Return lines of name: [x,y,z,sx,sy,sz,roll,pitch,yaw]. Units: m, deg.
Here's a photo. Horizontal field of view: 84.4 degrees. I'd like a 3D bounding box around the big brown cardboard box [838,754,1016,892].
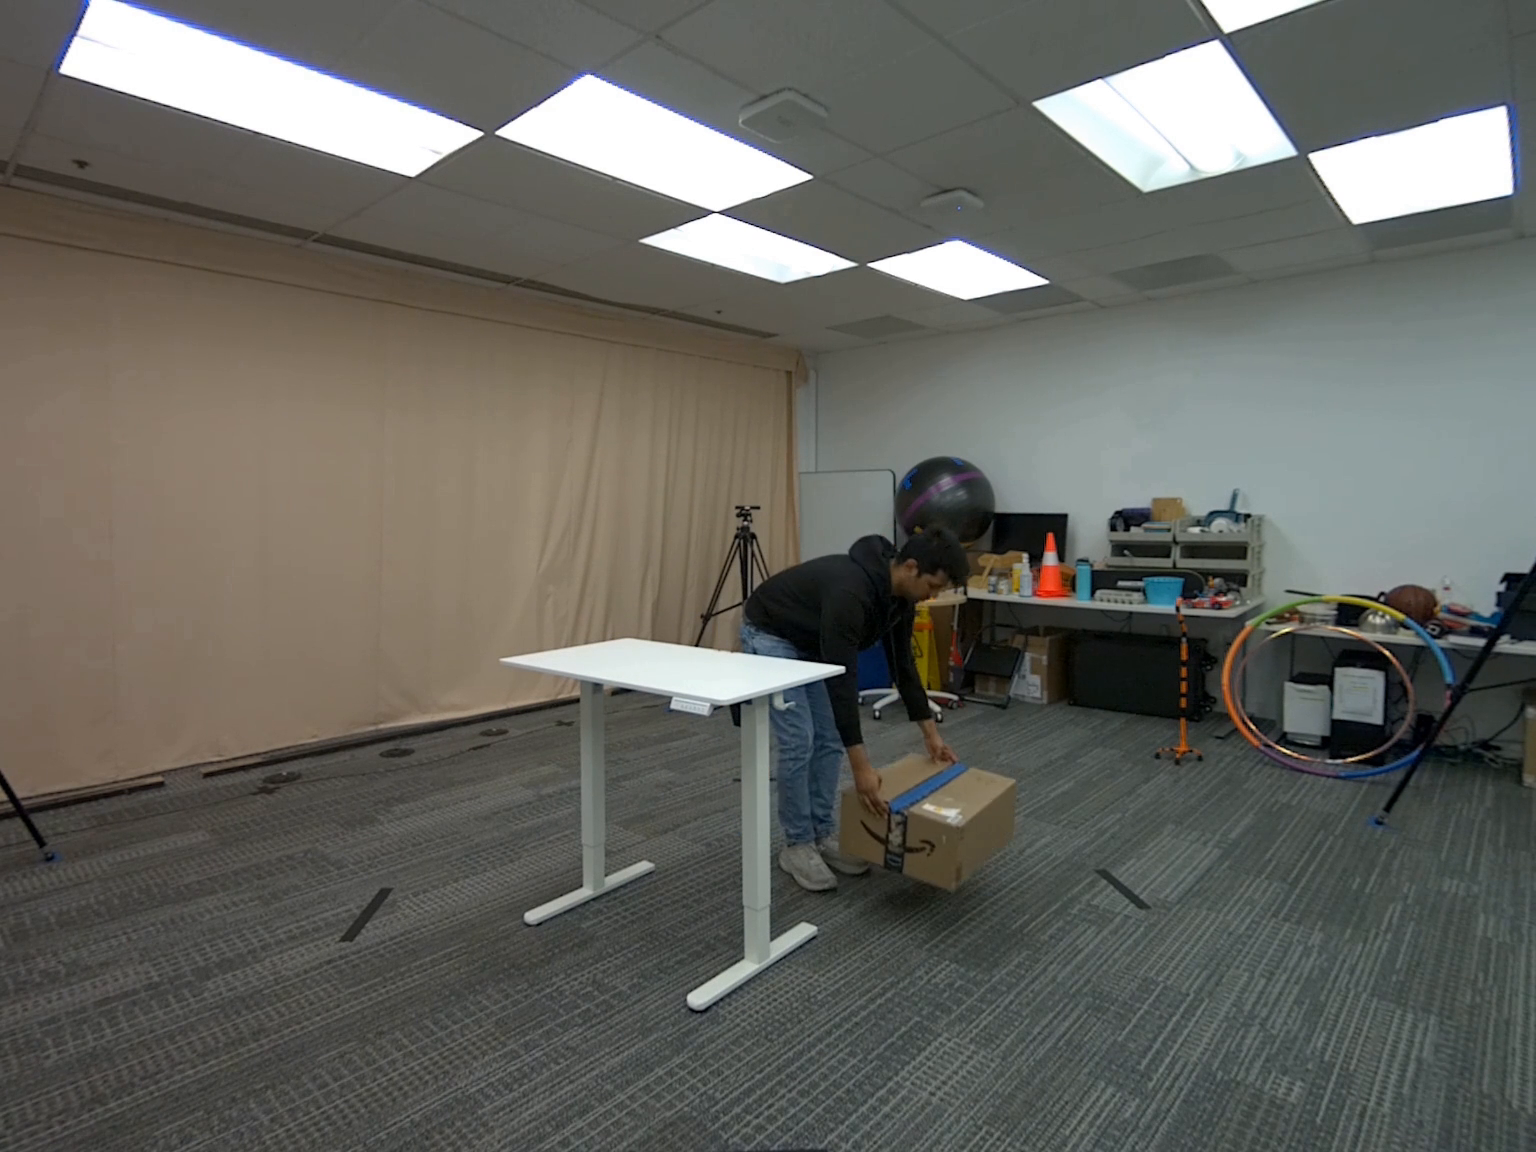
big brown cardboard box: [0.579,0.834,2.960,0.431,0.232,0.572,6,6,35]
